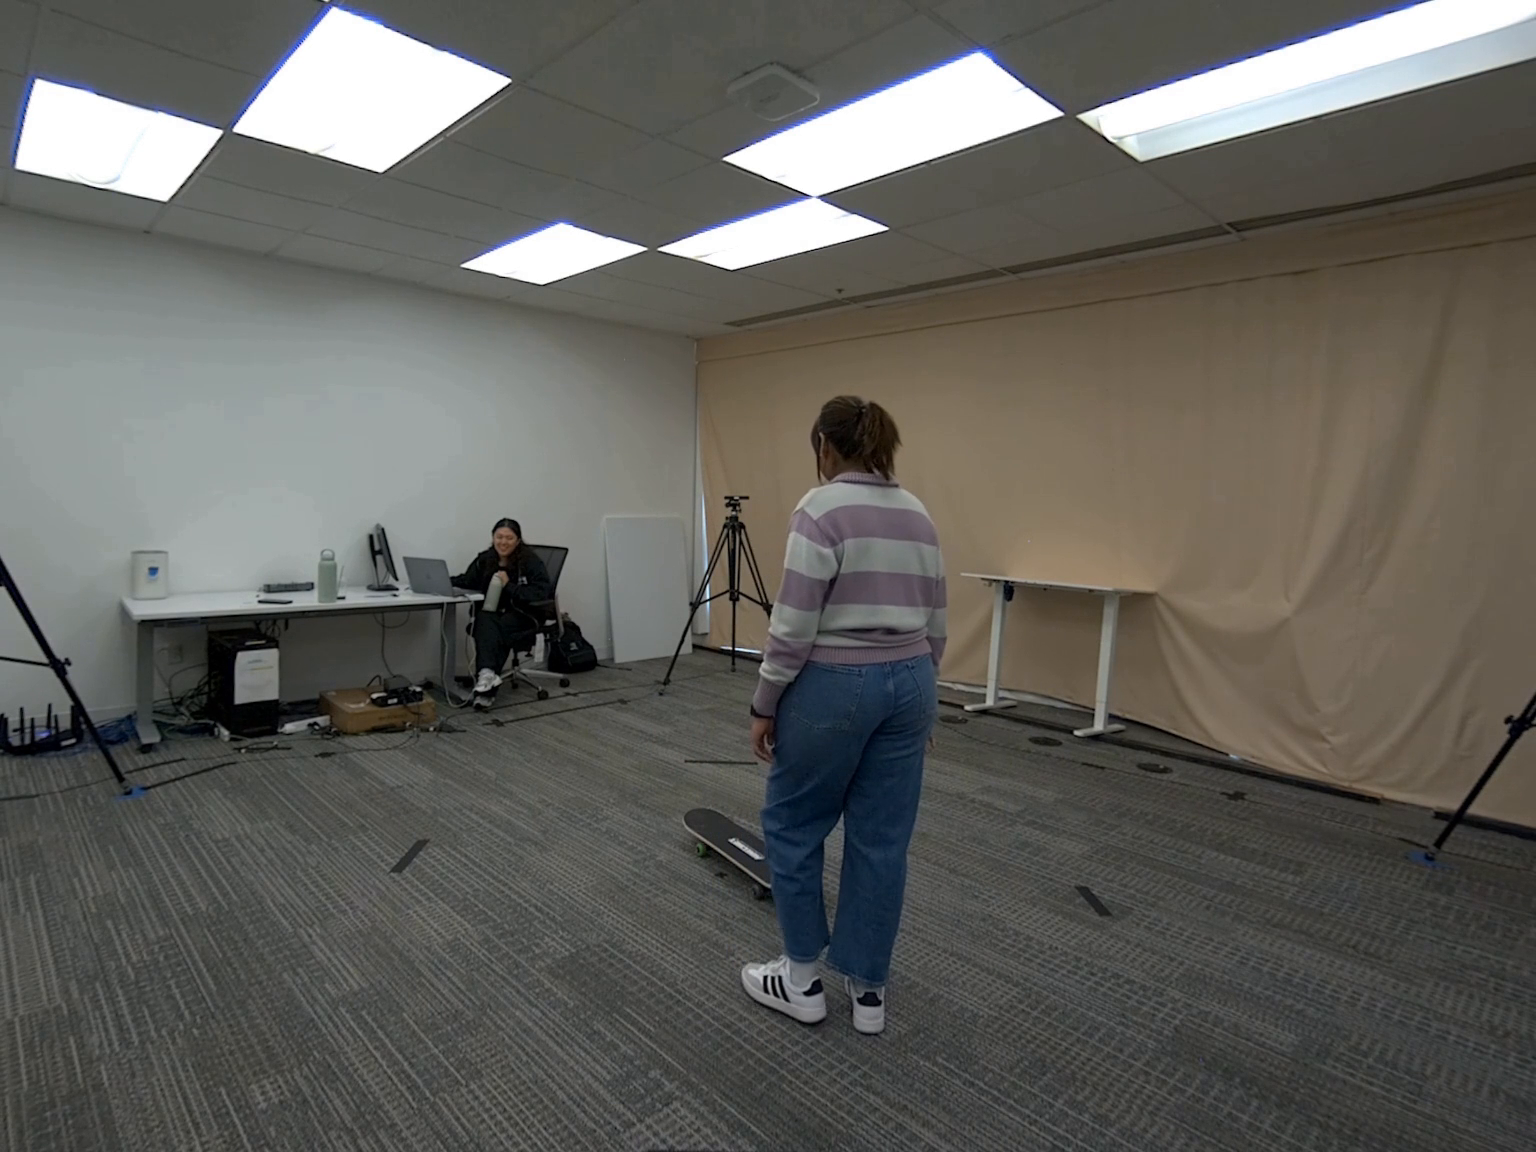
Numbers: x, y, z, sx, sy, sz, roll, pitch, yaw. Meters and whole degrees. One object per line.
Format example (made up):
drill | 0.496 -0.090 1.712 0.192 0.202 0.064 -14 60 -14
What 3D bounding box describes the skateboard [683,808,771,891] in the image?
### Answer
skateboard | -0.087 1.048 3.133 0.189 0.110 0.804 0 5 -33
